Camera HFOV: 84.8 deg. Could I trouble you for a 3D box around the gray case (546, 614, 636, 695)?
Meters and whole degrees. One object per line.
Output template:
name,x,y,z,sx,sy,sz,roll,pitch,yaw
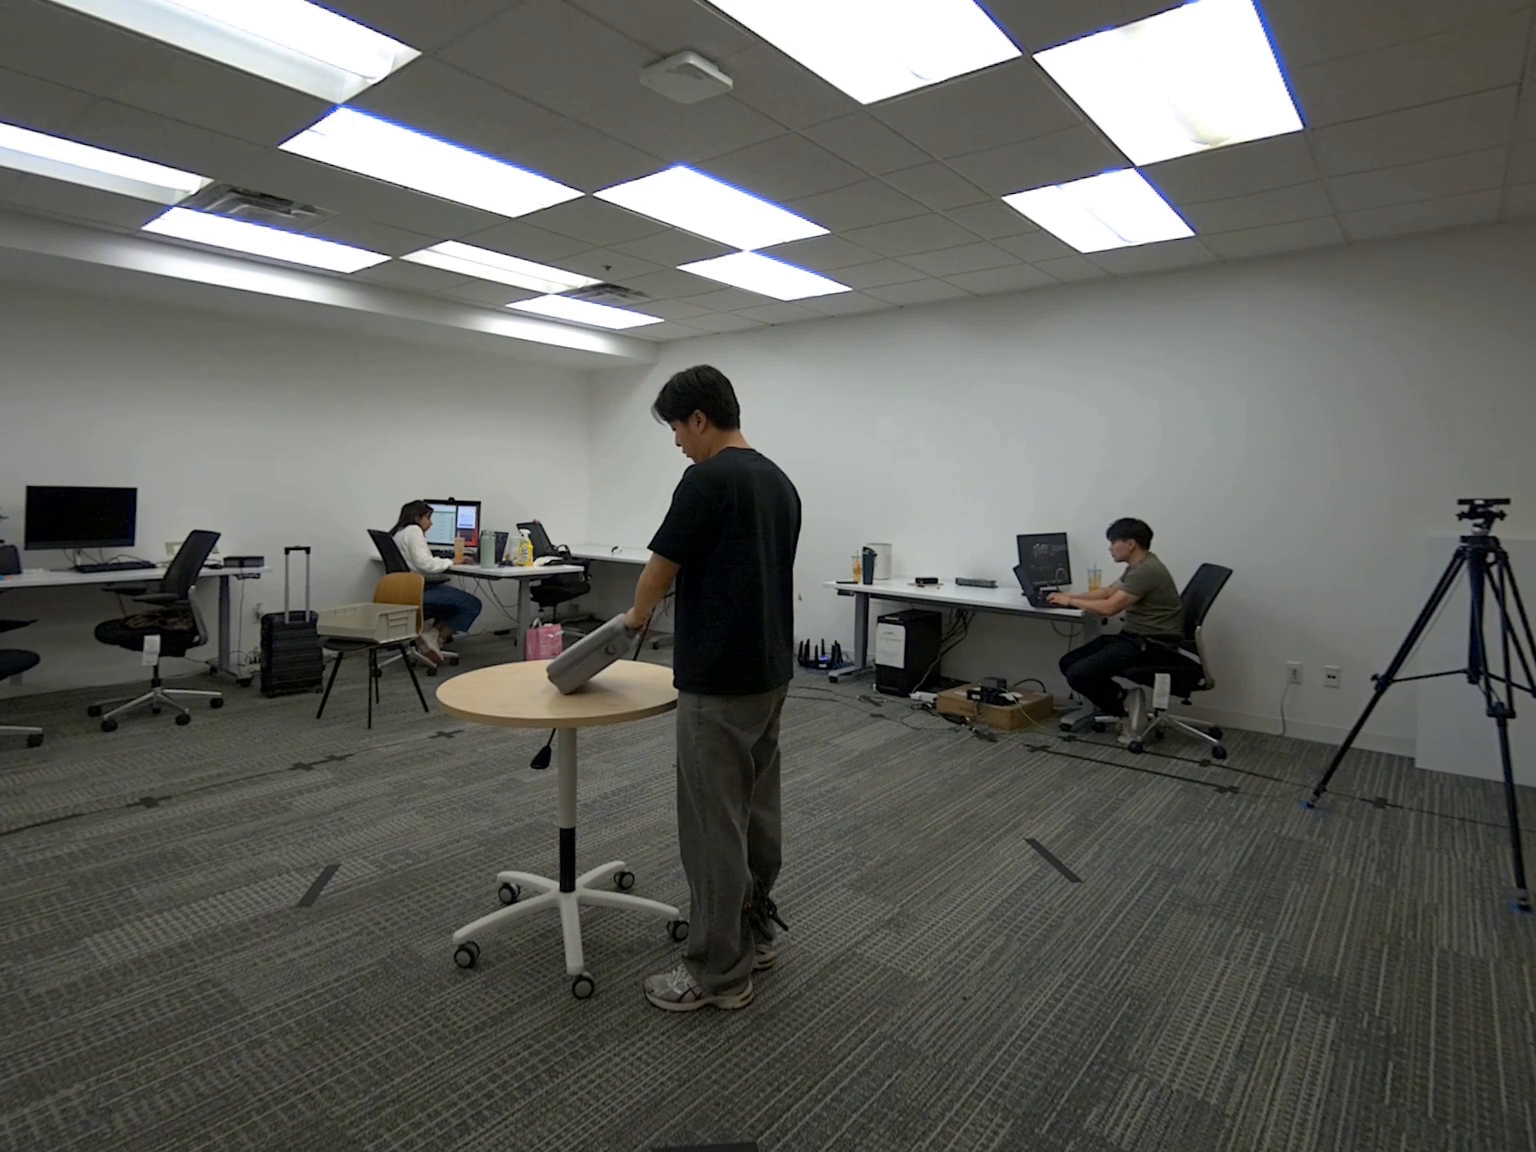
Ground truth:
gray case,-0.531,0.228,2.568,0.287,0.102,0.264,-34,6,4
